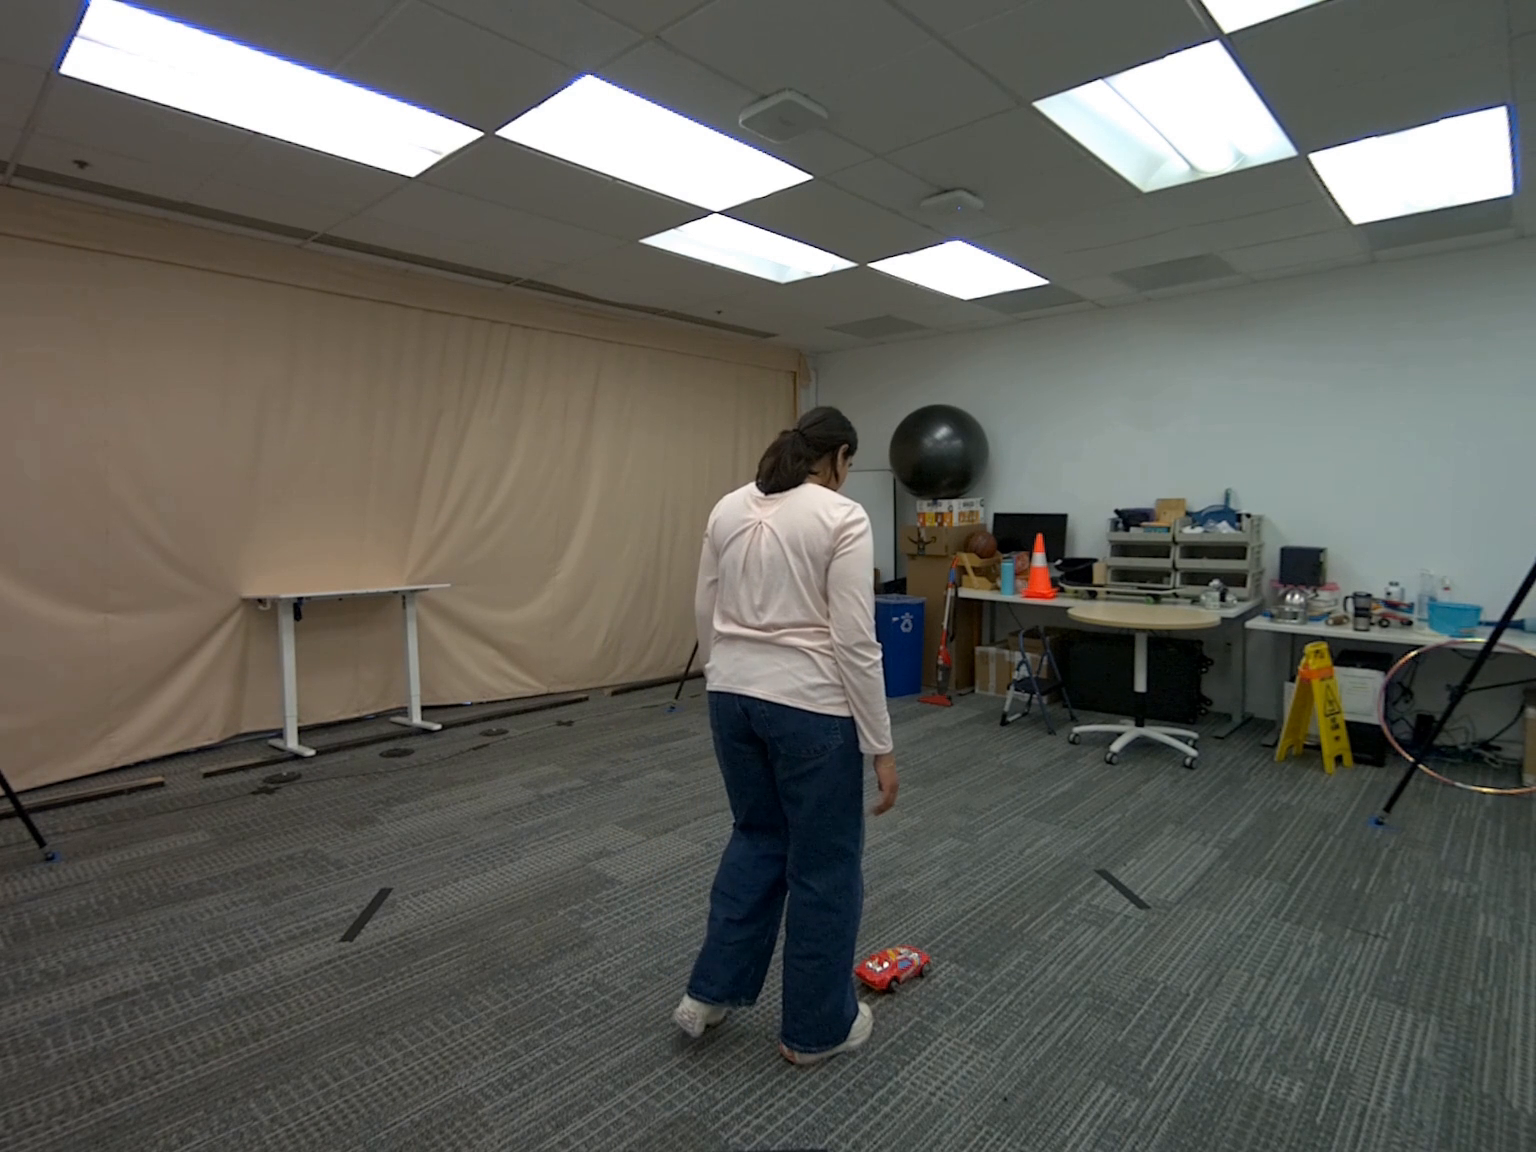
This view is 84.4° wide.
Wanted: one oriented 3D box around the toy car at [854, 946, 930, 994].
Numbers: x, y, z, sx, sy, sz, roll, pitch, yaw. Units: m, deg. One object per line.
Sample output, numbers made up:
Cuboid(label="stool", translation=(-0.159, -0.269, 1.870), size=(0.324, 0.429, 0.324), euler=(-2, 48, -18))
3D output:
Cuboid(label="toy car", translation=(0.366, 1.156, 2.469), size=(0.246, 0.083, 0.134), euler=(11, -2, -37))
